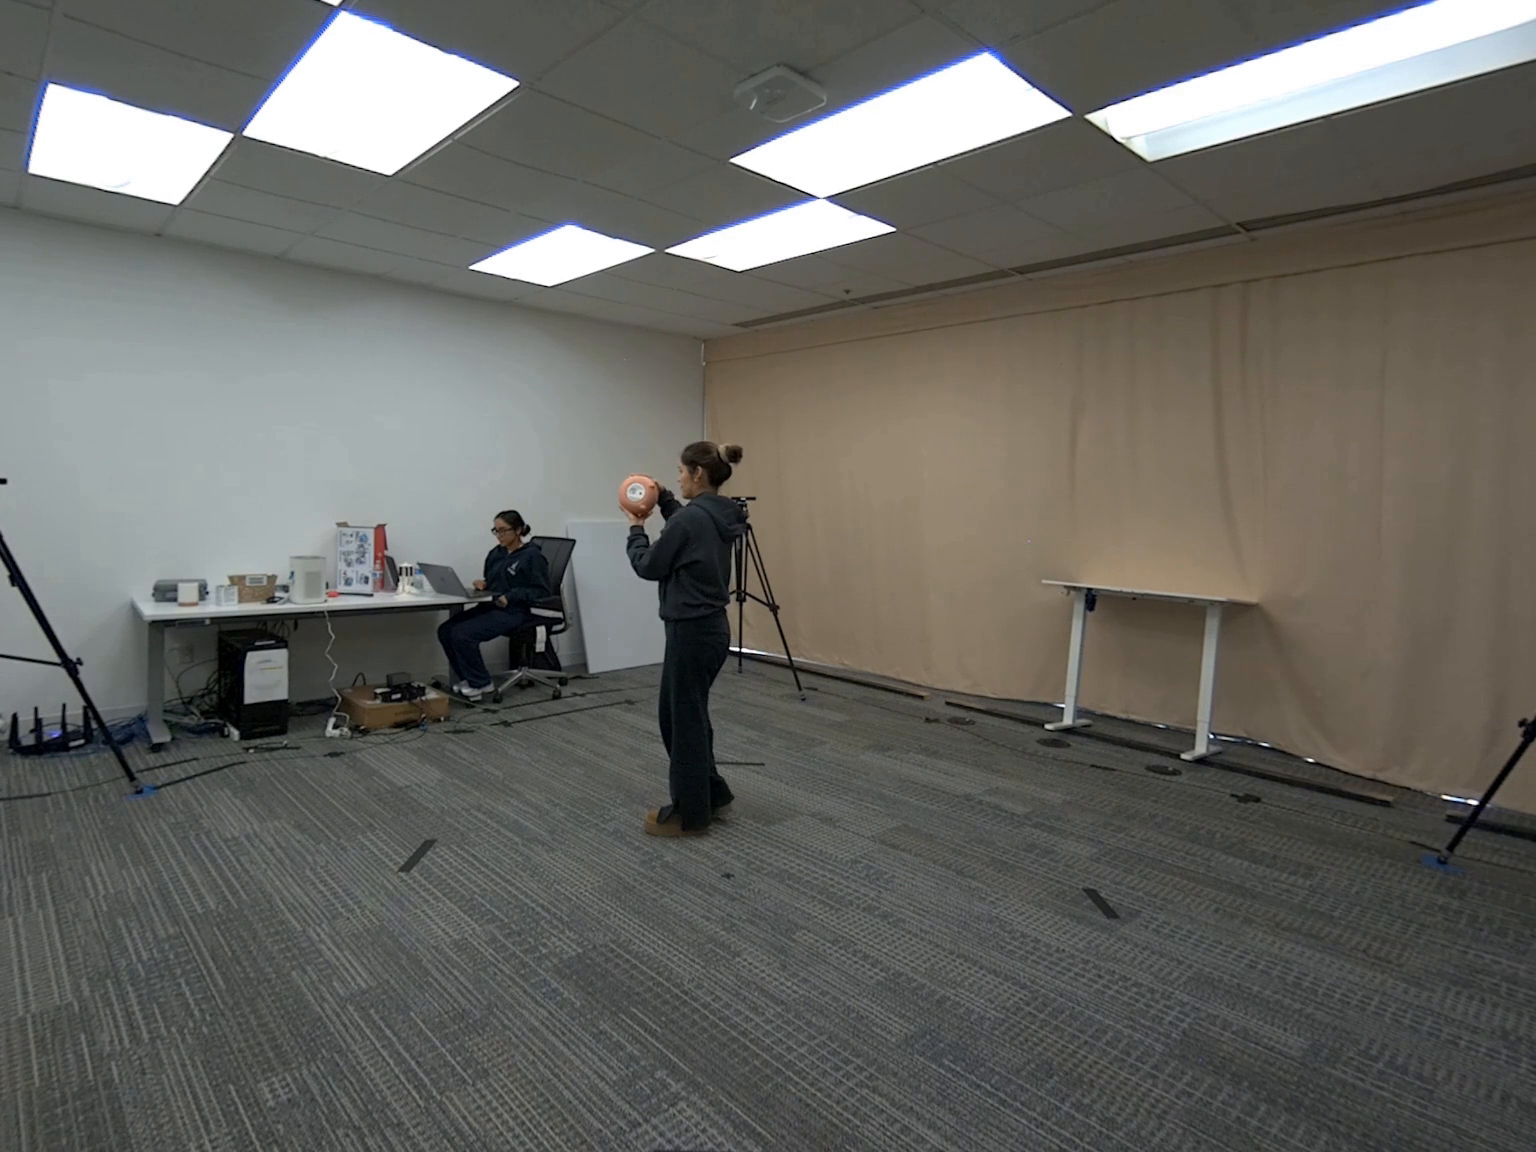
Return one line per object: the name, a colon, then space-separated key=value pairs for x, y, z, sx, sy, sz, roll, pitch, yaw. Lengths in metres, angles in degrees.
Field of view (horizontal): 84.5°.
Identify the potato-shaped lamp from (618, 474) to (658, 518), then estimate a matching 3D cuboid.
potato-shaped lamp: x=-0.554 y=-0.343 z=3.602 sx=0.174 sy=0.165 sz=0.194 roll=17 pitch=-9 yaw=14
